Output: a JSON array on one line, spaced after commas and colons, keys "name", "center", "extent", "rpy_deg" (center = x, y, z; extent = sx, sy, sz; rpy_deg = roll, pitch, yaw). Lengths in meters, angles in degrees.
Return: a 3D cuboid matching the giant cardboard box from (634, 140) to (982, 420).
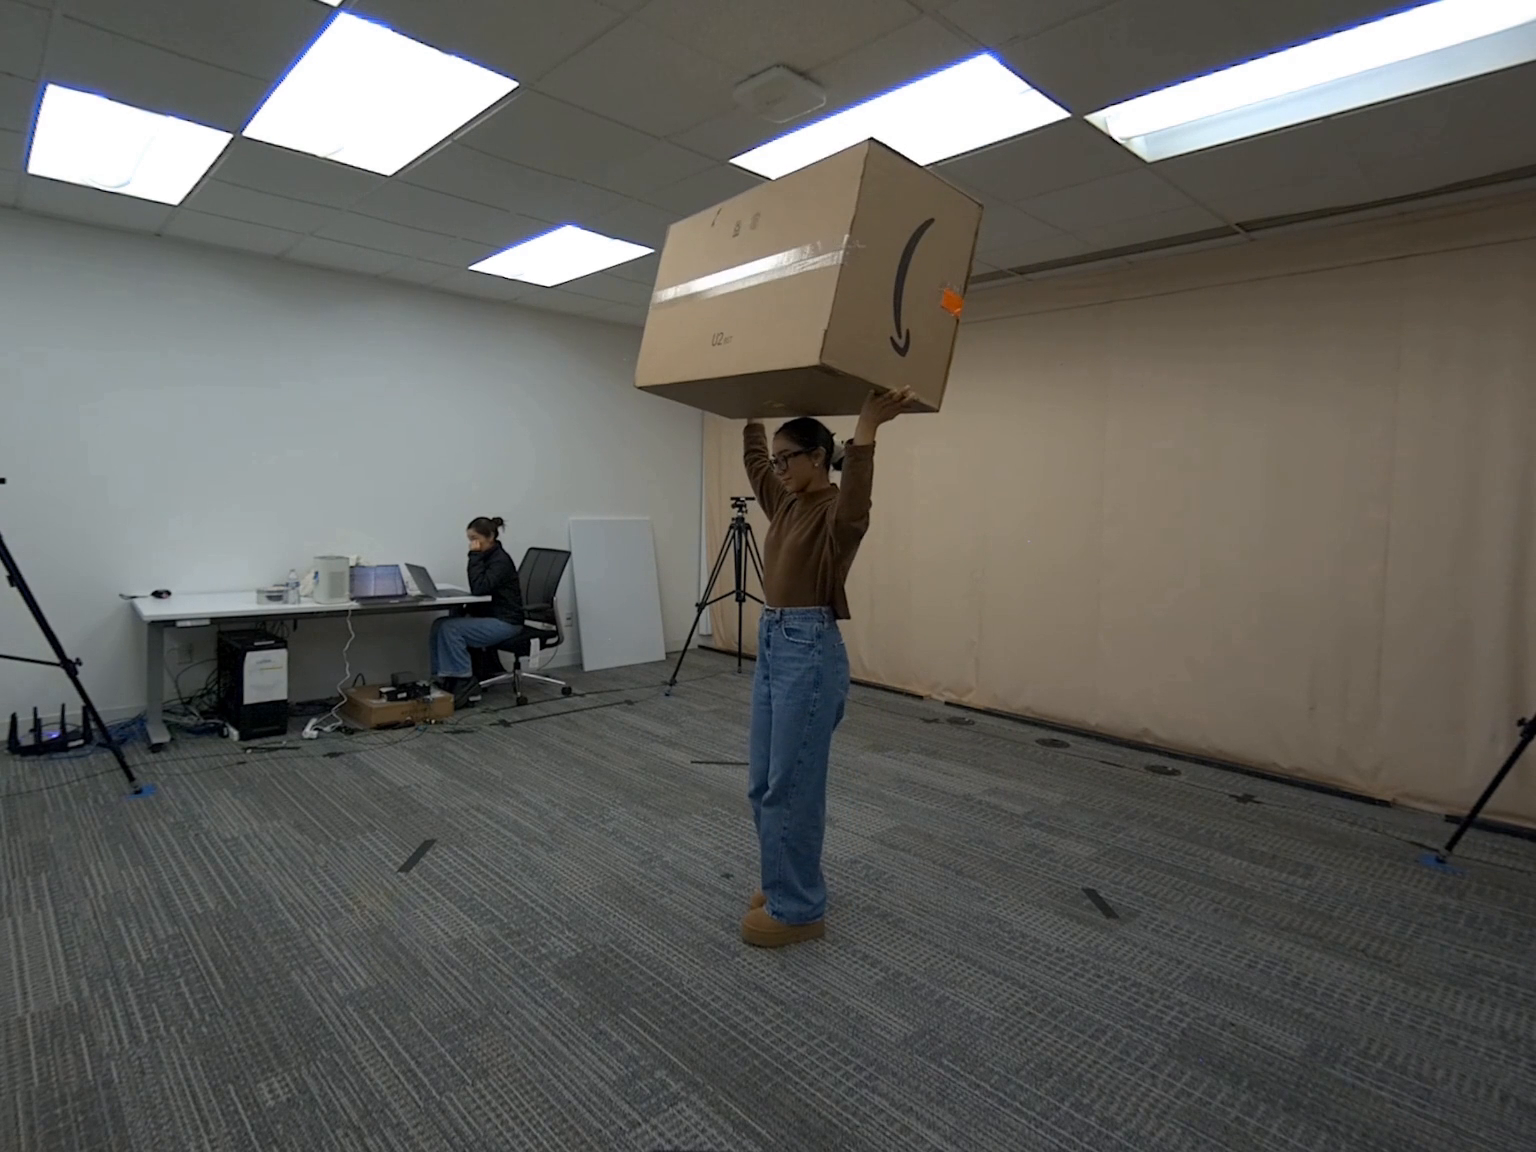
[{"name": "giant cardboard box", "center": [0.057, -0.813, 2.562], "extent": [0.415, 0.578, 1.052], "rpy_deg": [13, 0, -35]}]
